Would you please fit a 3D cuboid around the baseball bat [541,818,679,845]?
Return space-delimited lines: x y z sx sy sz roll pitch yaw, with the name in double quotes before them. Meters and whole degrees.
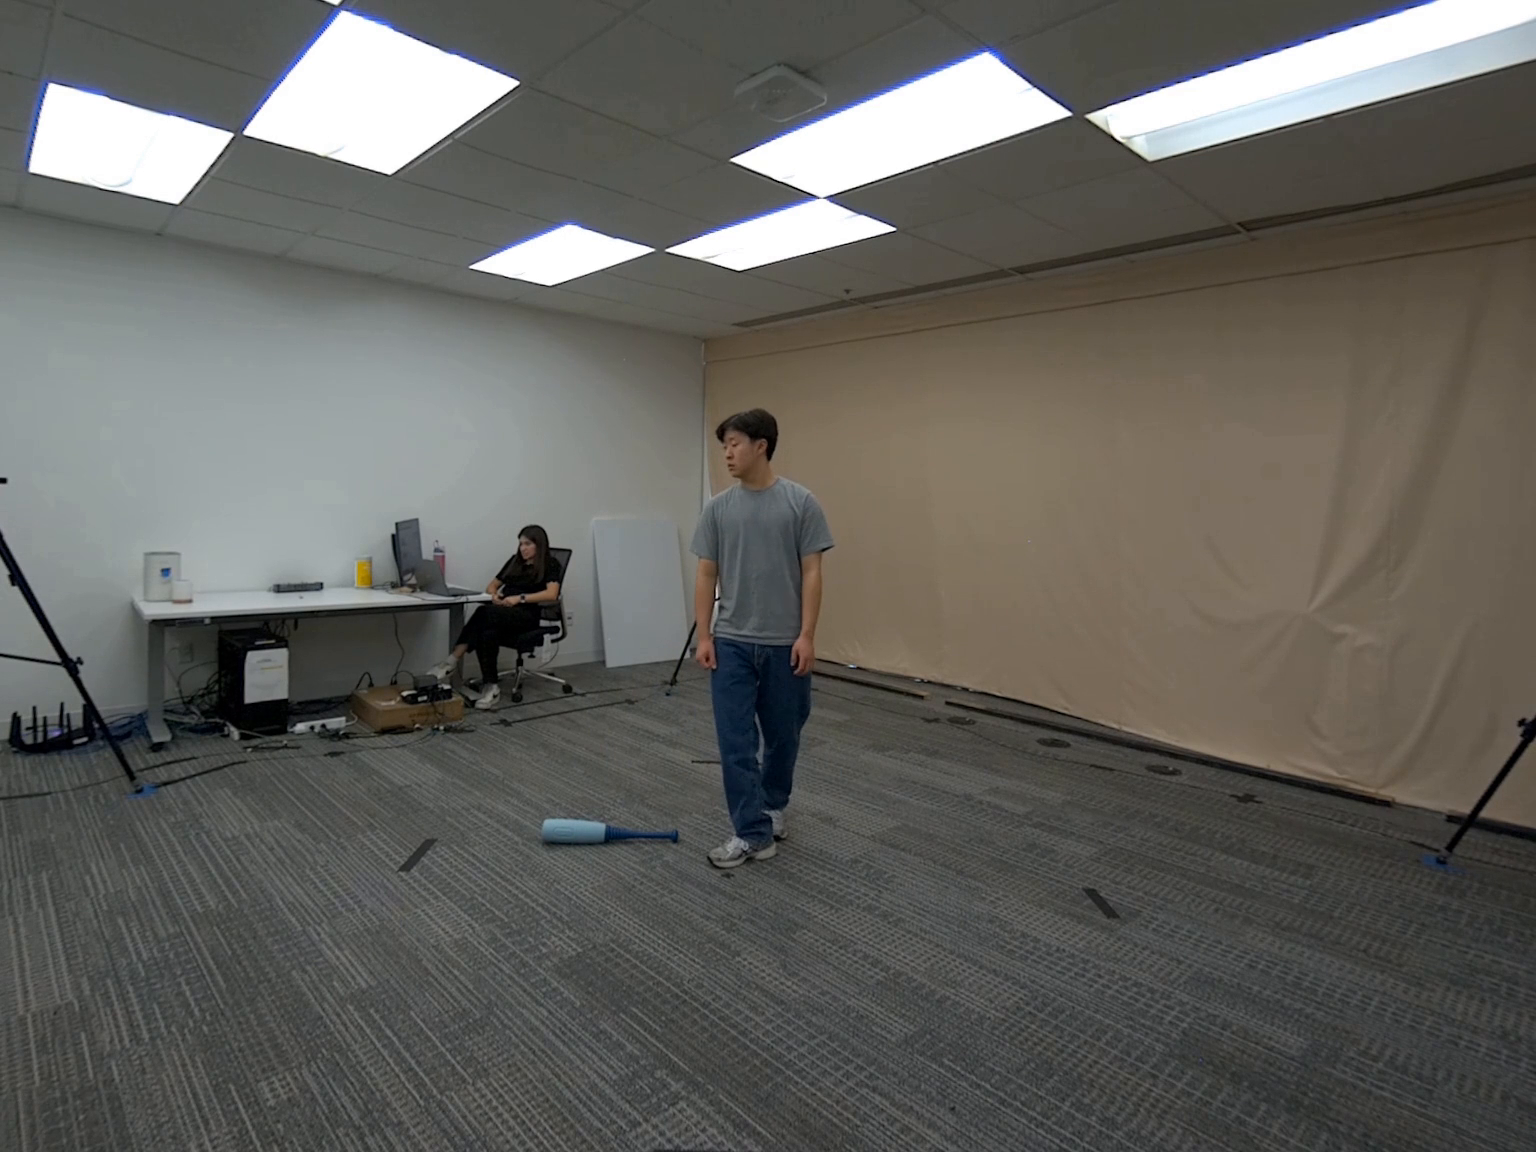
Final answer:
"baseball bat" -0.635 1.030 3.373 0.541 0.089 0.089 4 4 -4
